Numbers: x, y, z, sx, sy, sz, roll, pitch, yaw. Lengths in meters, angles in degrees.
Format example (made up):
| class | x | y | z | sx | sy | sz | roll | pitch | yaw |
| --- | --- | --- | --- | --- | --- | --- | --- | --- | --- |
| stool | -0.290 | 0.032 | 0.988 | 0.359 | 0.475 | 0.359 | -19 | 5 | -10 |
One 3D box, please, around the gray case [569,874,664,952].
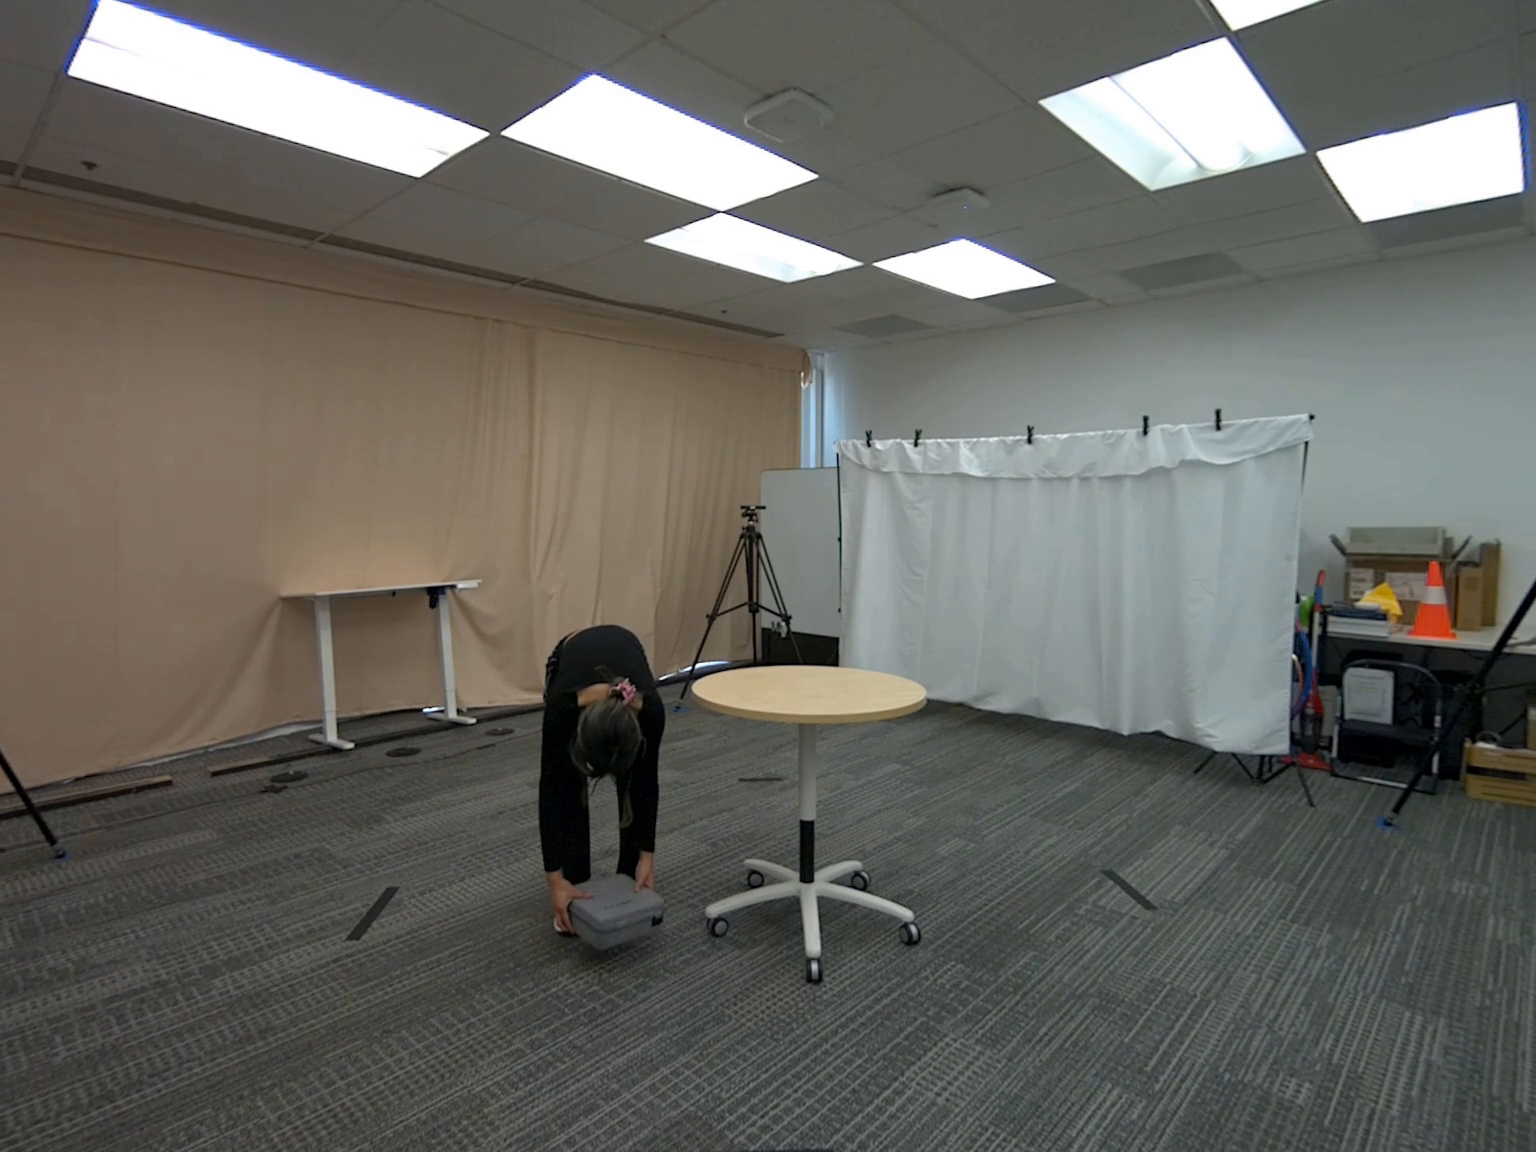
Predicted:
| class | x | y | z | sx | sy | sz | roll | pitch | yaw |
| --- | --- | --- | --- | --- | --- | --- | --- | --- | --- |
| gray case | -0.482 | 1.028 | 2.601 | 0.249 | 0.104 | 0.269 | -2 | 7 | -43 |
